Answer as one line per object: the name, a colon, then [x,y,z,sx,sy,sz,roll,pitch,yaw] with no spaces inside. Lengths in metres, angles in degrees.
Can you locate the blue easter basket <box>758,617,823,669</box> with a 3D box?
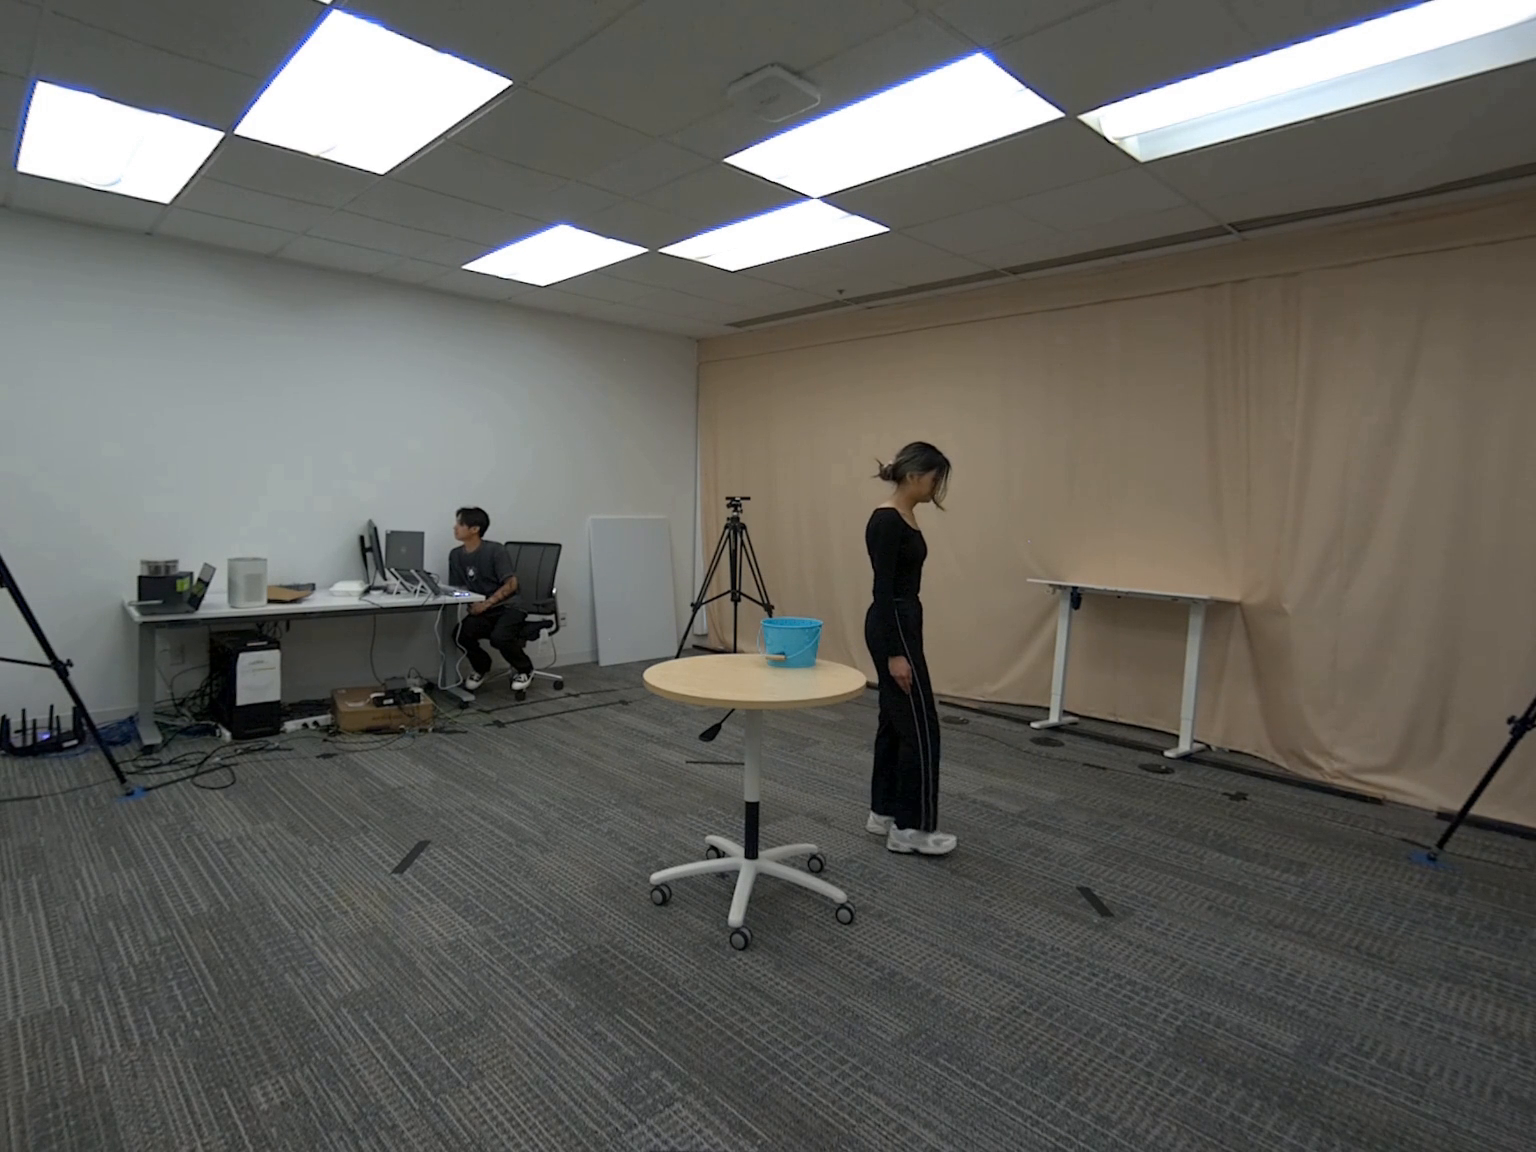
blue easter basket: [0.064,0.250,3.127,0.243,0.155,0.244,1,4,-1]
